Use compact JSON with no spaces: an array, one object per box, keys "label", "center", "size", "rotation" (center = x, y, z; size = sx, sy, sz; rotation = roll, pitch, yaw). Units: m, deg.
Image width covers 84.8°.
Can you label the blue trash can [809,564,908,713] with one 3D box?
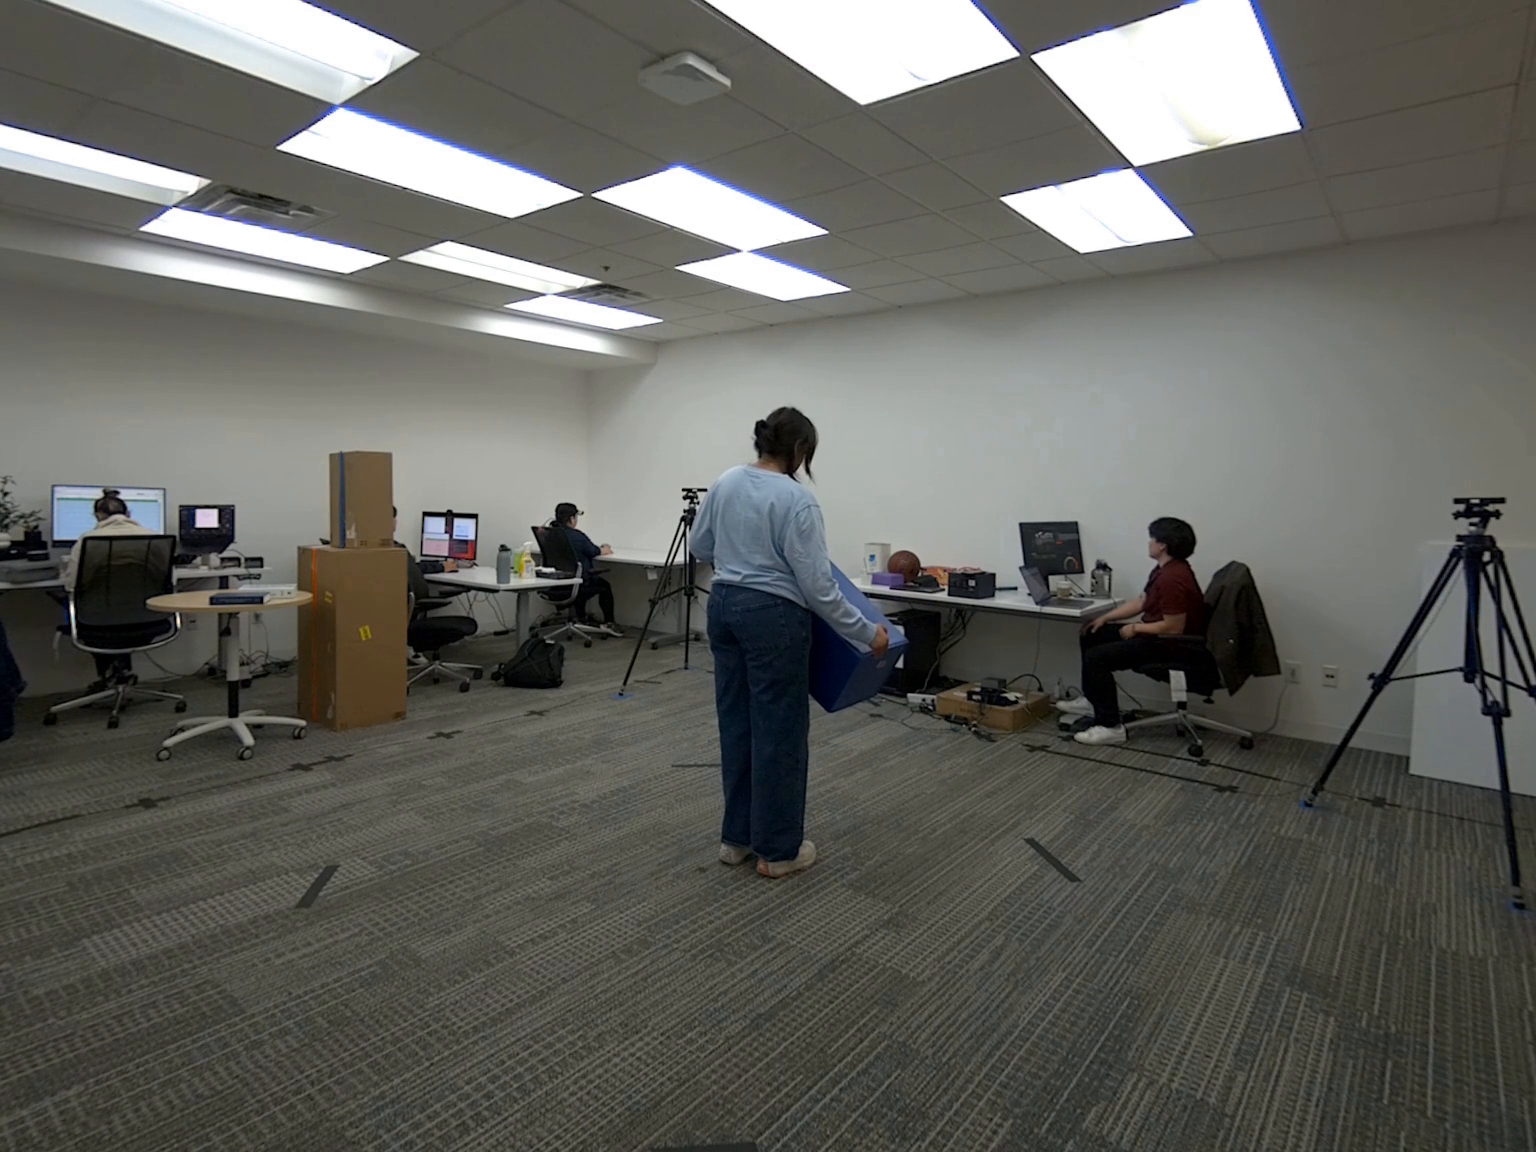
[{"label":"blue trash can","center":[0.157,0.151,3.402],"size":[0.368,0.369,0.741],"rotation":[-11,45,-44]}]
